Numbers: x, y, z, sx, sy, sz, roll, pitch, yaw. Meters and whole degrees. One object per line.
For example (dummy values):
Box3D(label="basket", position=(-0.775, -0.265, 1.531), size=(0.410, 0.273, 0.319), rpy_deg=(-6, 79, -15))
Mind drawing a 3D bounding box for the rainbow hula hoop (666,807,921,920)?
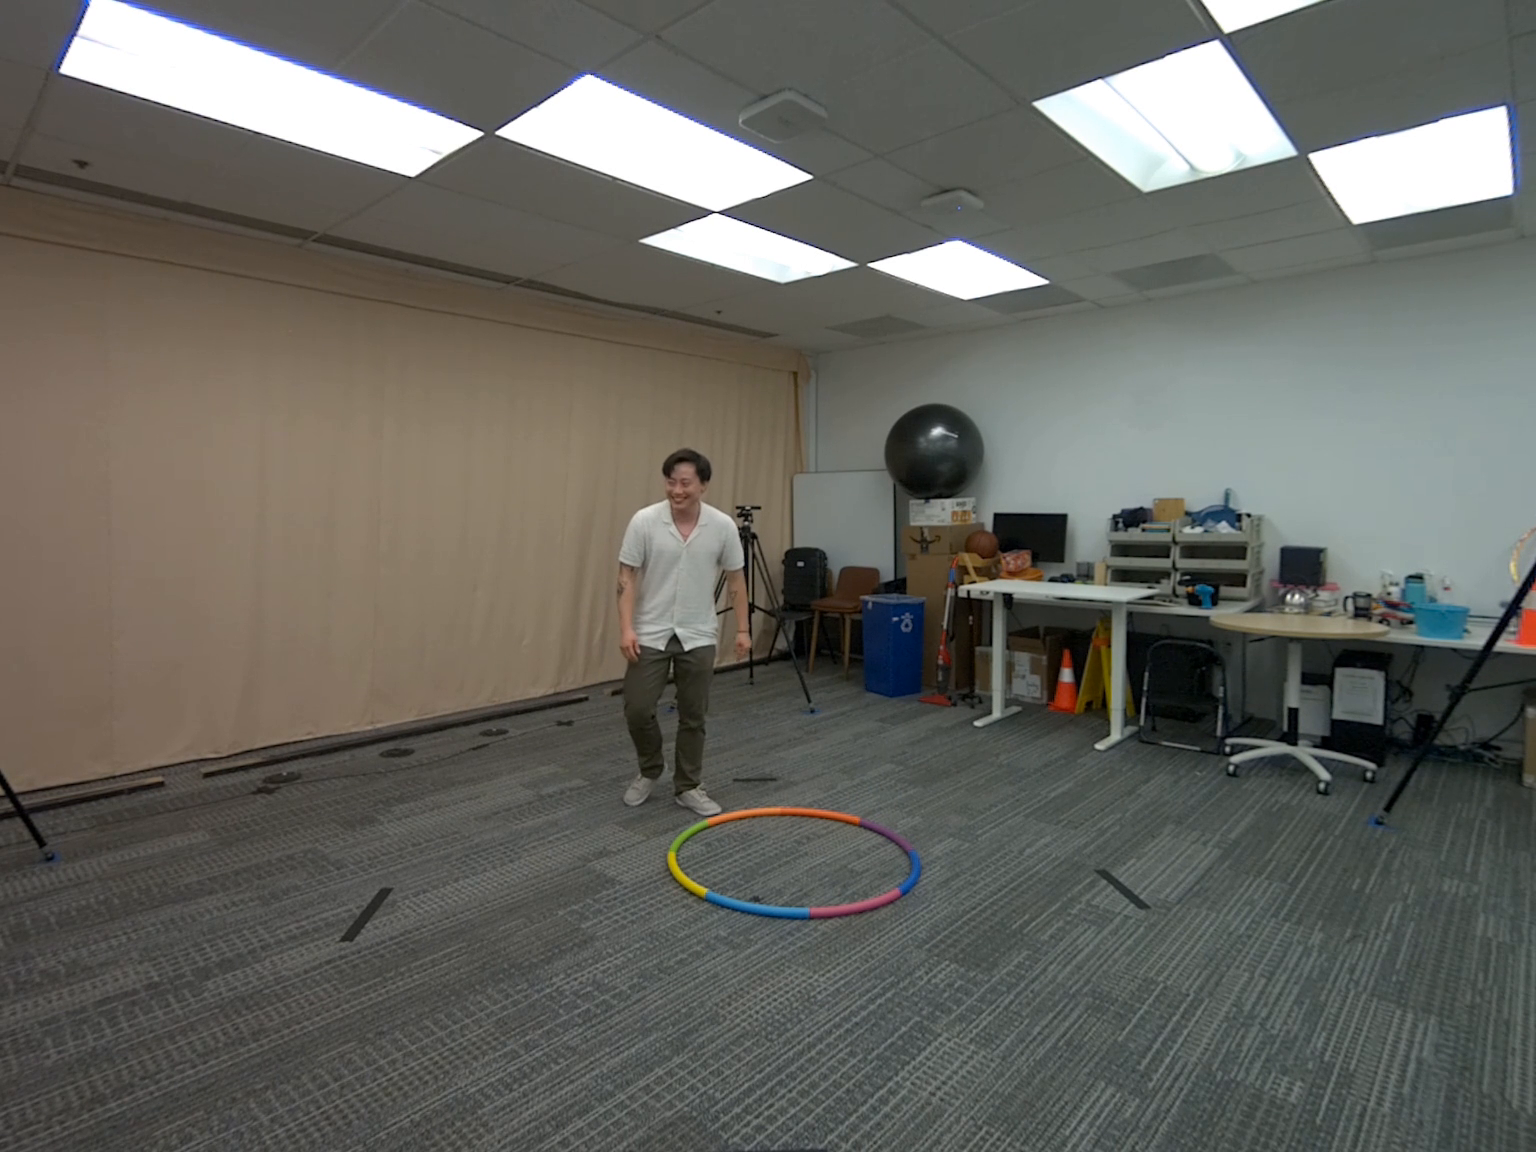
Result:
Box3D(label="rainbow hula hoop", position=(0.097, 1.087, 3.312), size=(0.978, 0.035, 0.982), rpy_deg=(0, 5, -2))
